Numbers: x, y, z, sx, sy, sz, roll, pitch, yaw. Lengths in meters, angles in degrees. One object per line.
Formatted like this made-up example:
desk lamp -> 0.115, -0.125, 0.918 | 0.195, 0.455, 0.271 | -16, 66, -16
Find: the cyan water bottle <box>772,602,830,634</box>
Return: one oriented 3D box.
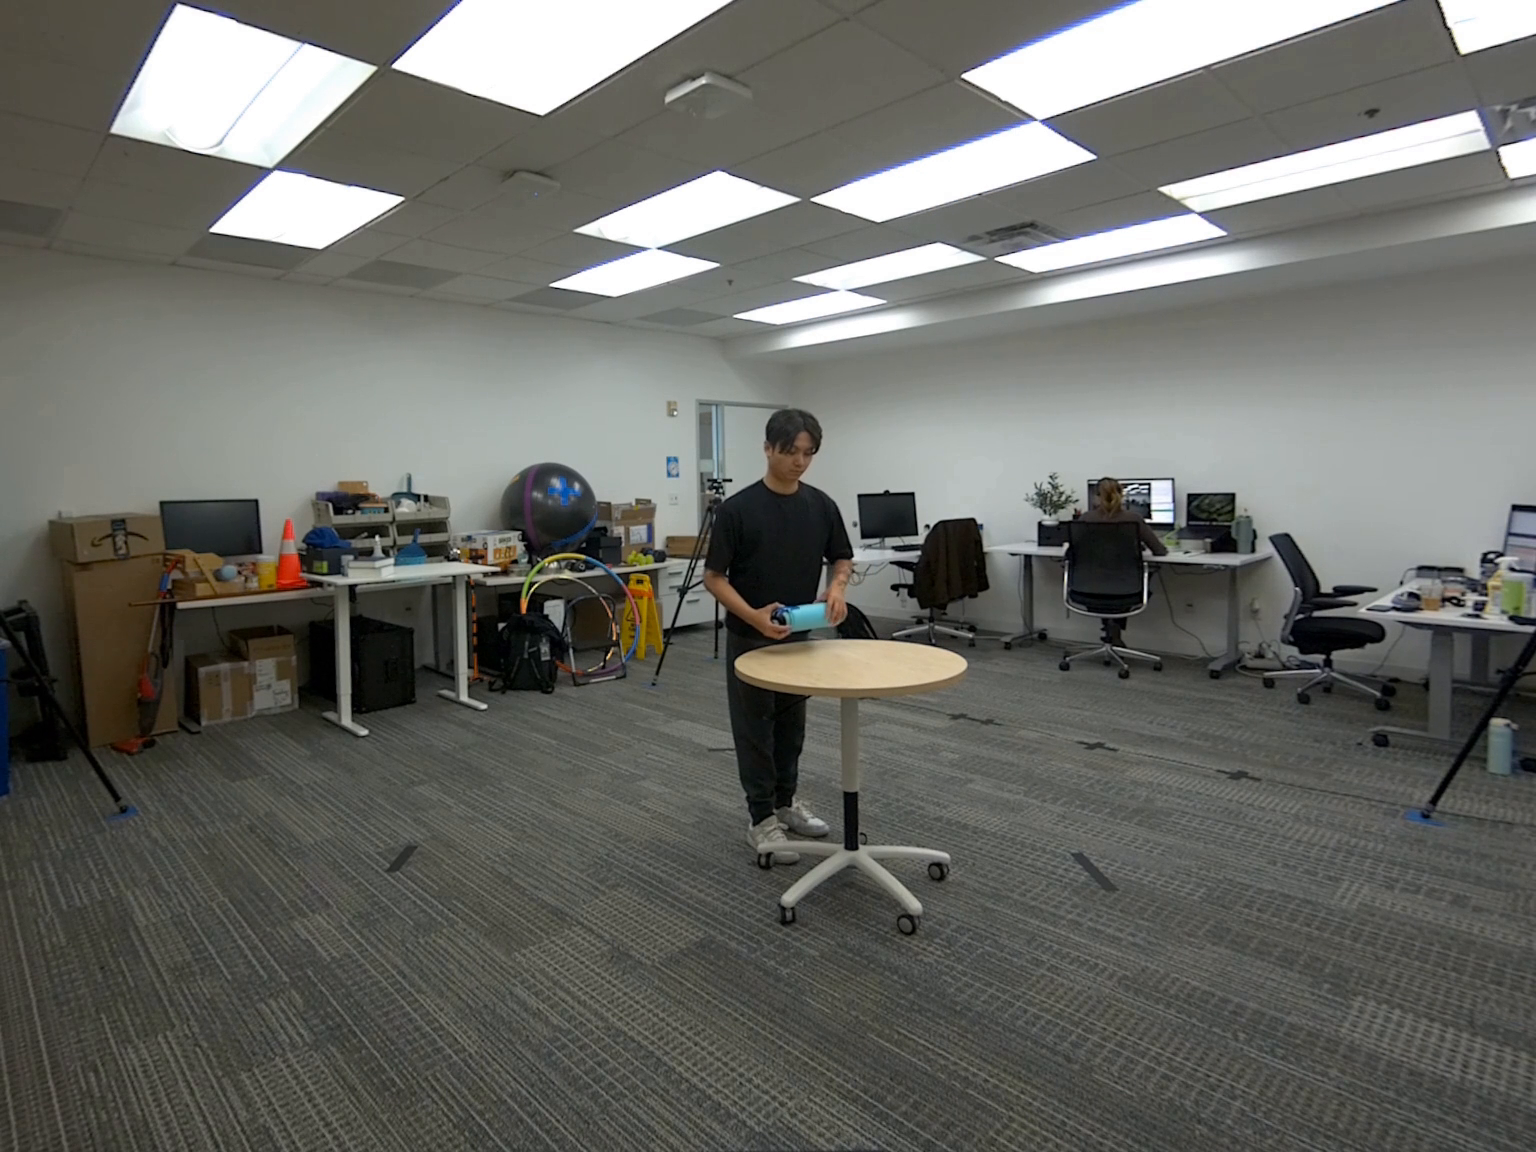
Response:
cyan water bottle -> 0.120, 0.153, 3.054 | 0.276, 0.092, 0.095 | -5, 6, -33
